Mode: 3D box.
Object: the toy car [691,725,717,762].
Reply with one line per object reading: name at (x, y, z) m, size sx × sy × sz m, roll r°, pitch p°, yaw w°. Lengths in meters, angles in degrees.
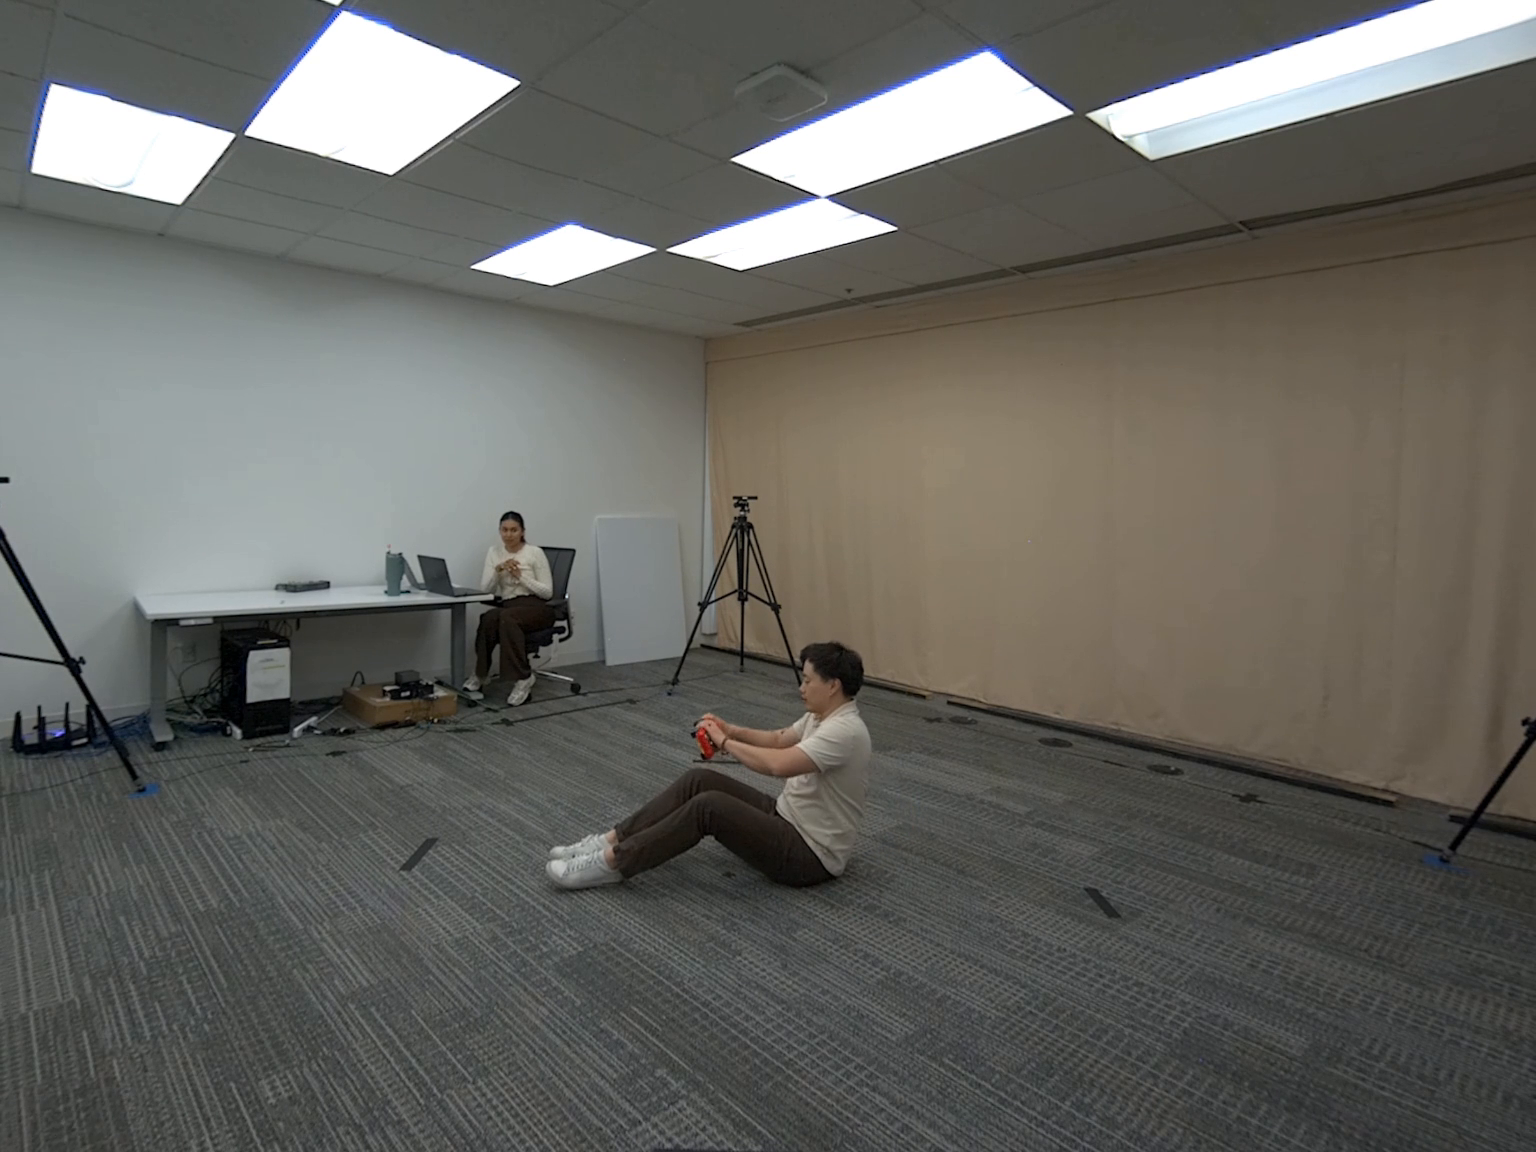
toy car at (-0.228, 0.604, 3.131) m, size 0.083 × 0.130 × 0.252 m, roll -25°, pitch -1°, yaw 13°
